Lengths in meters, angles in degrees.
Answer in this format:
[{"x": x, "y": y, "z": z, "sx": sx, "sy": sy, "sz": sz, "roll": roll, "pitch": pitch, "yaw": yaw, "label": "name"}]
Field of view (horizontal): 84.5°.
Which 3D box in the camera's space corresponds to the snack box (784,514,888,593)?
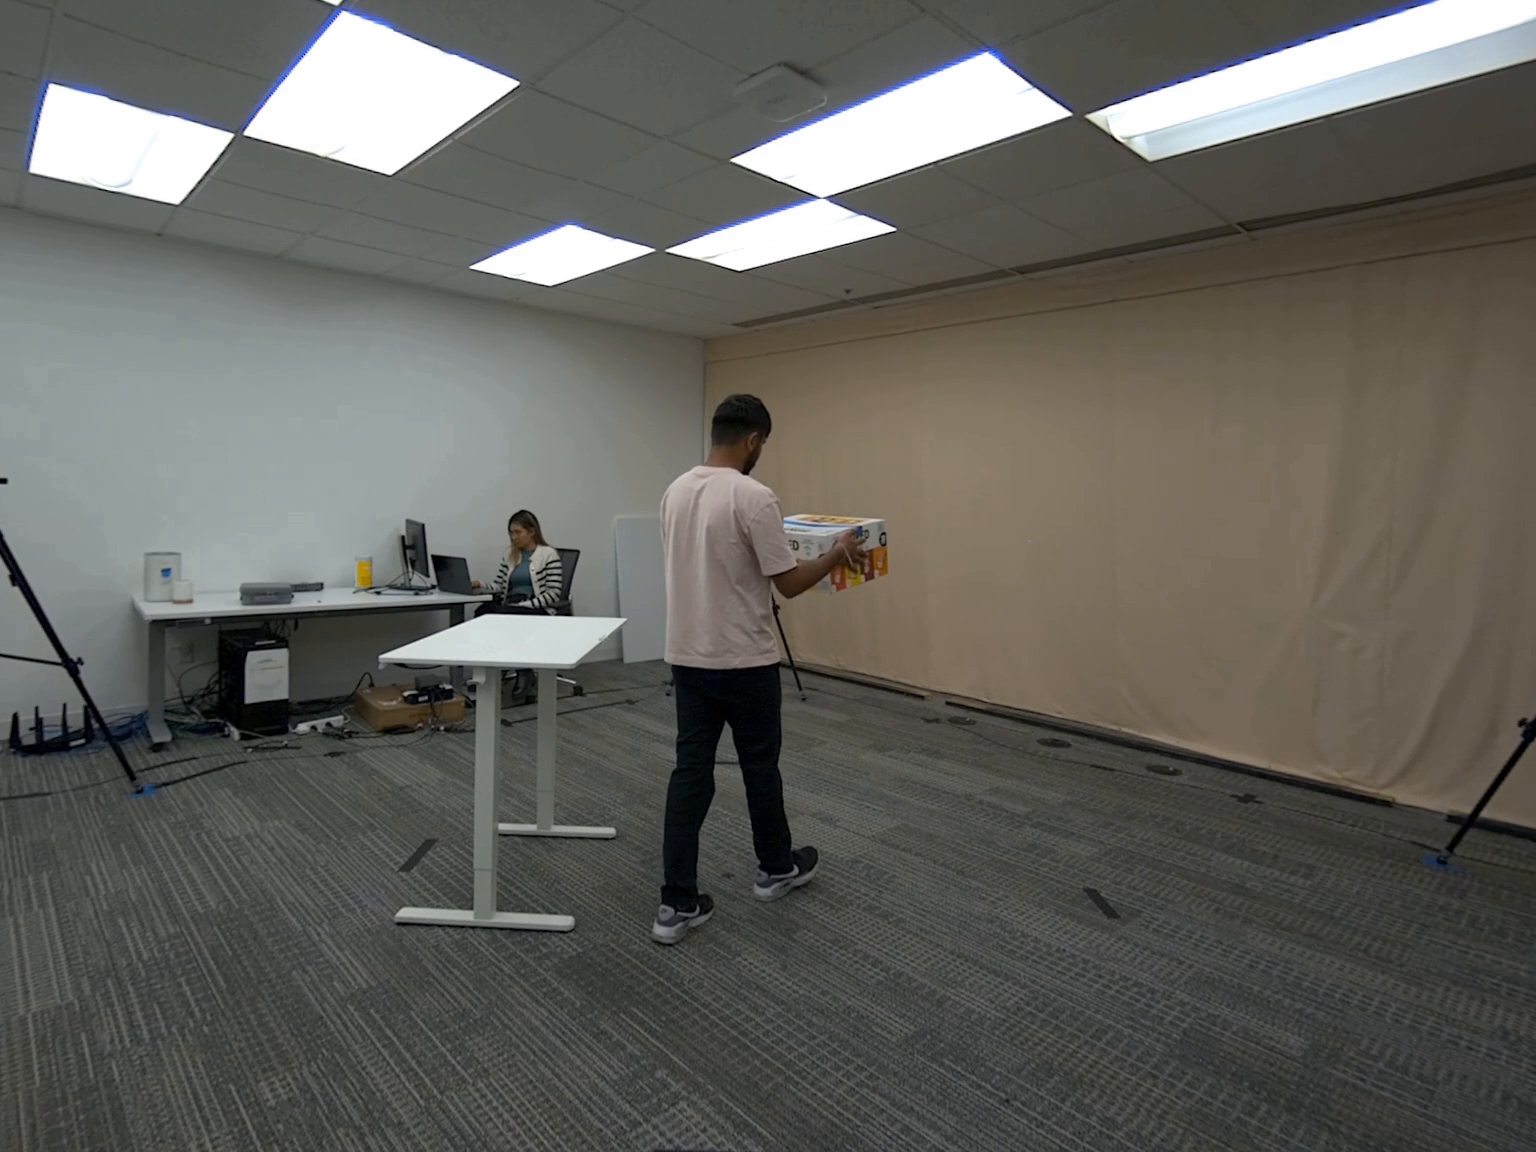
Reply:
[{"x": 0.166, "y": -0.091, "z": 3.076, "sx": 0.416, "sy": 0.204, "sz": 0.334, "roll": 7, "pitch": 16, "yaw": 43, "label": "snack box"}]
